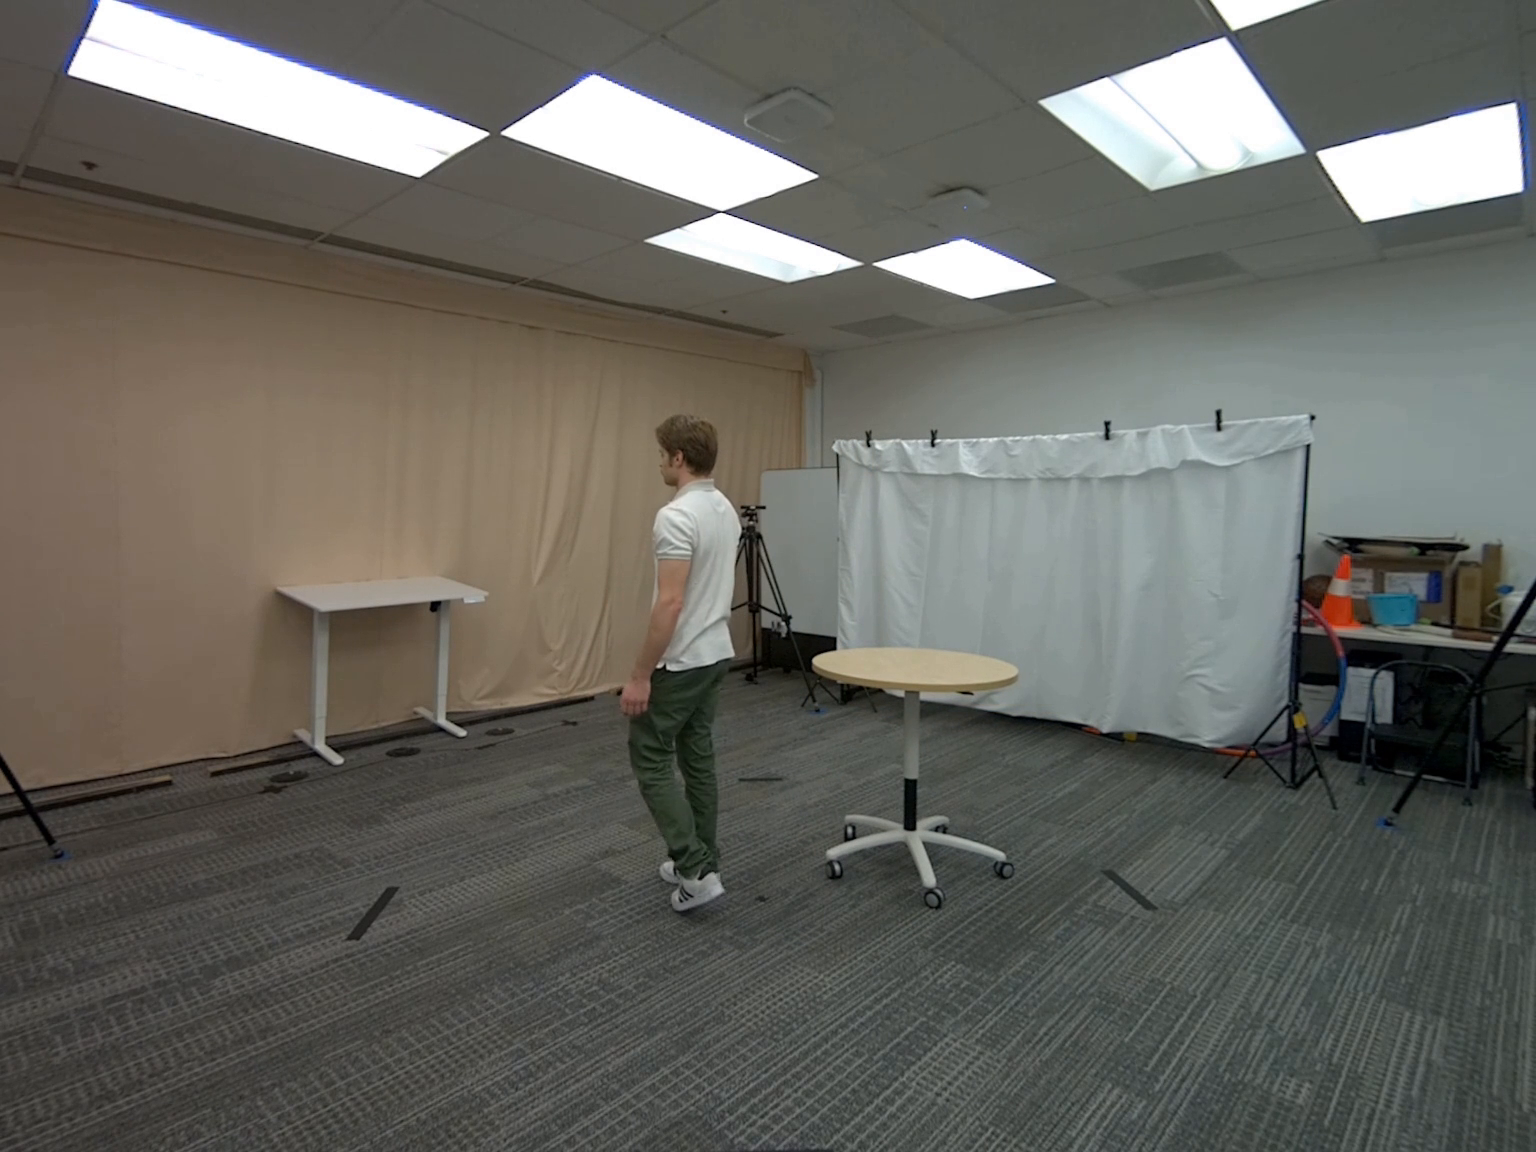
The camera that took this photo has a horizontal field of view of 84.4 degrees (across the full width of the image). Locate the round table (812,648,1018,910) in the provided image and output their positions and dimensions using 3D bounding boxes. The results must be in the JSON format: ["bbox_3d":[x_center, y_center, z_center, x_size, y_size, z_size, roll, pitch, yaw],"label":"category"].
[{"bbox_3d":[0.557,0.732,3.247,0.763,0.793,0.766,0,3,-2],"label":"round table"}]
